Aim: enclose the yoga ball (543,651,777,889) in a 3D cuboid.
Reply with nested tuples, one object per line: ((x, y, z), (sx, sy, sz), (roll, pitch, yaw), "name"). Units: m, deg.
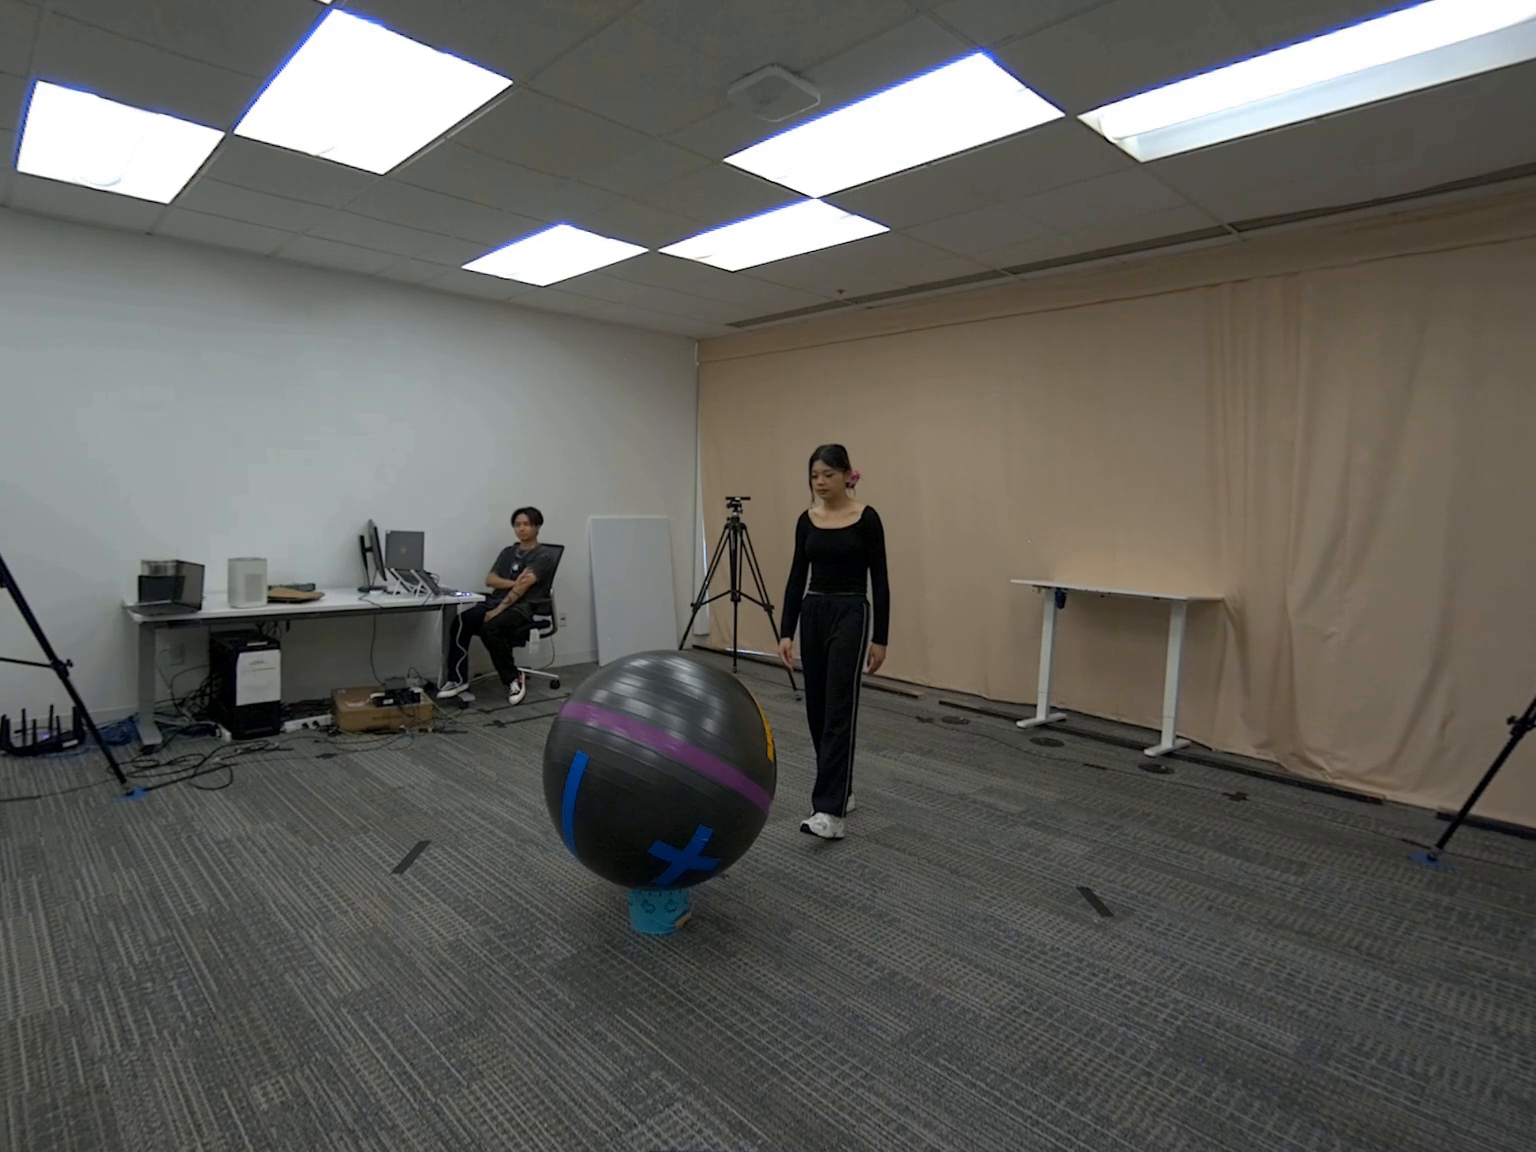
((-0.353, 0.629, 2.740), (0.757, 0.756, 0.761), (1, 4, -1), "yoga ball")
